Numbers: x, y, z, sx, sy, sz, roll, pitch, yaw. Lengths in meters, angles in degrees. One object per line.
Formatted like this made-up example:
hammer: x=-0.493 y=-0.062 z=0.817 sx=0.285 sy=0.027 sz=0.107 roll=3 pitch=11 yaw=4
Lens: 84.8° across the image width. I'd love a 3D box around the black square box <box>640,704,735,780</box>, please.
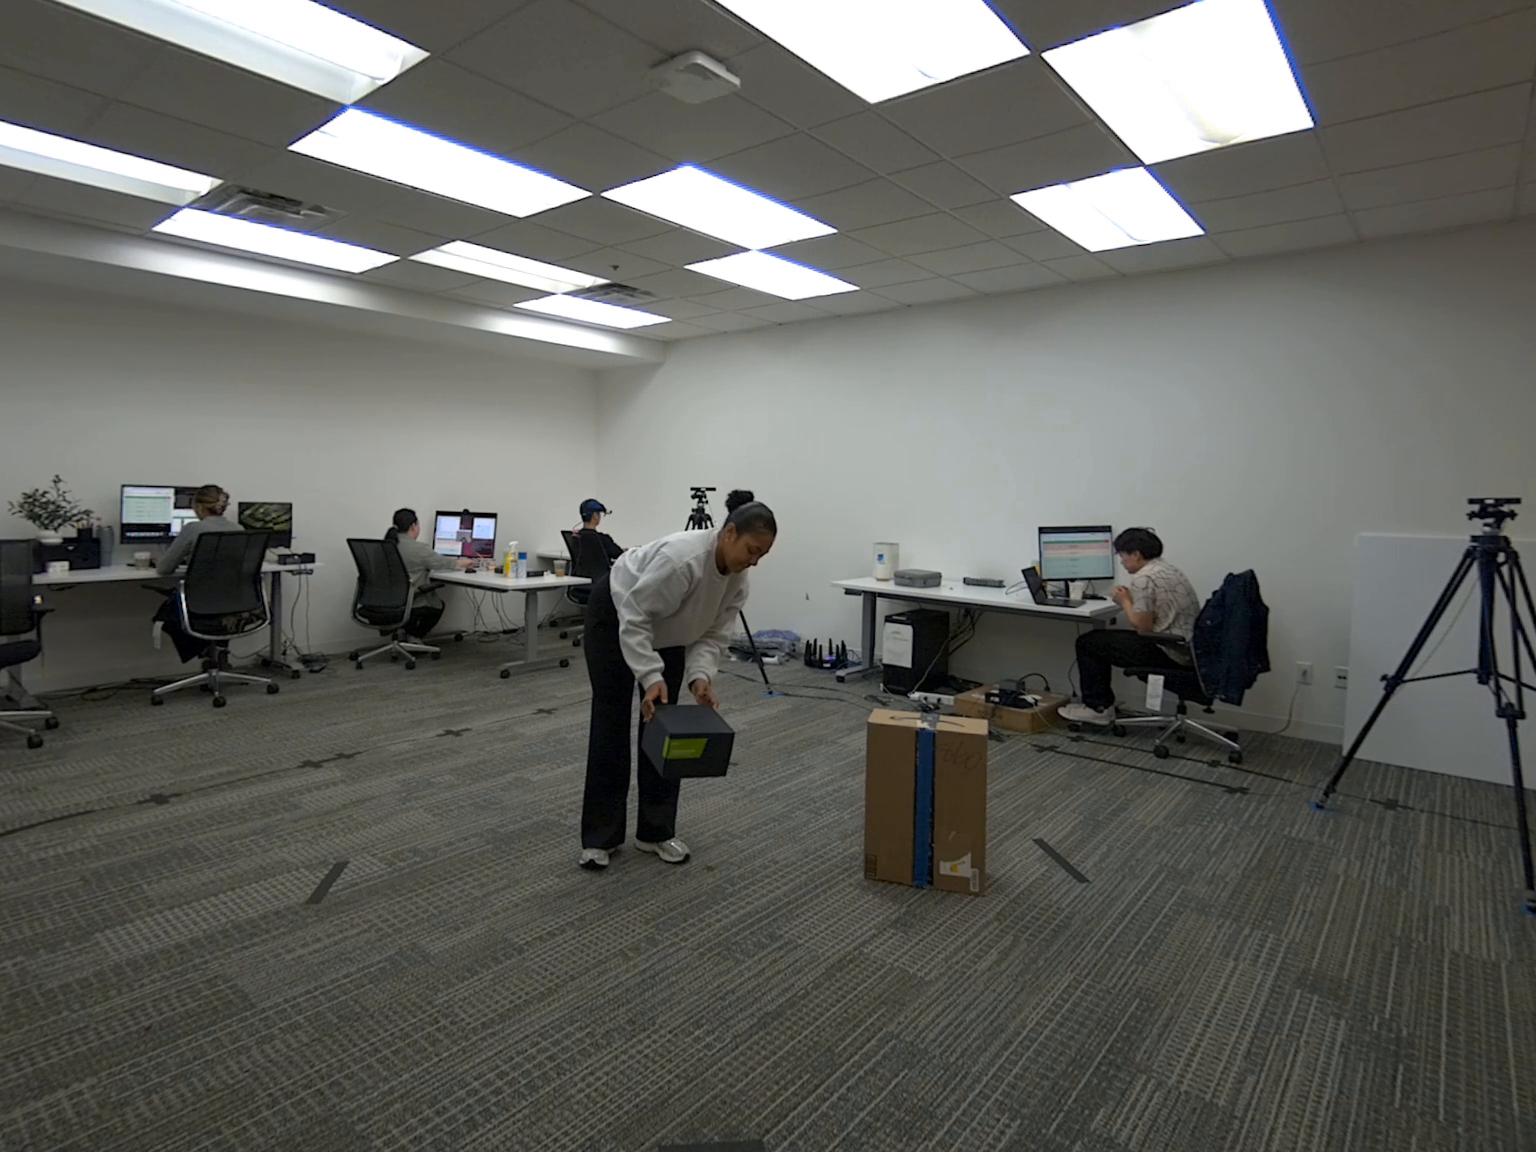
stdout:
black square box: x=-0.253 y=0.544 z=2.784 sx=0.222 sy=0.154 sz=0.224 roll=7 pitch=13 yaw=-23
